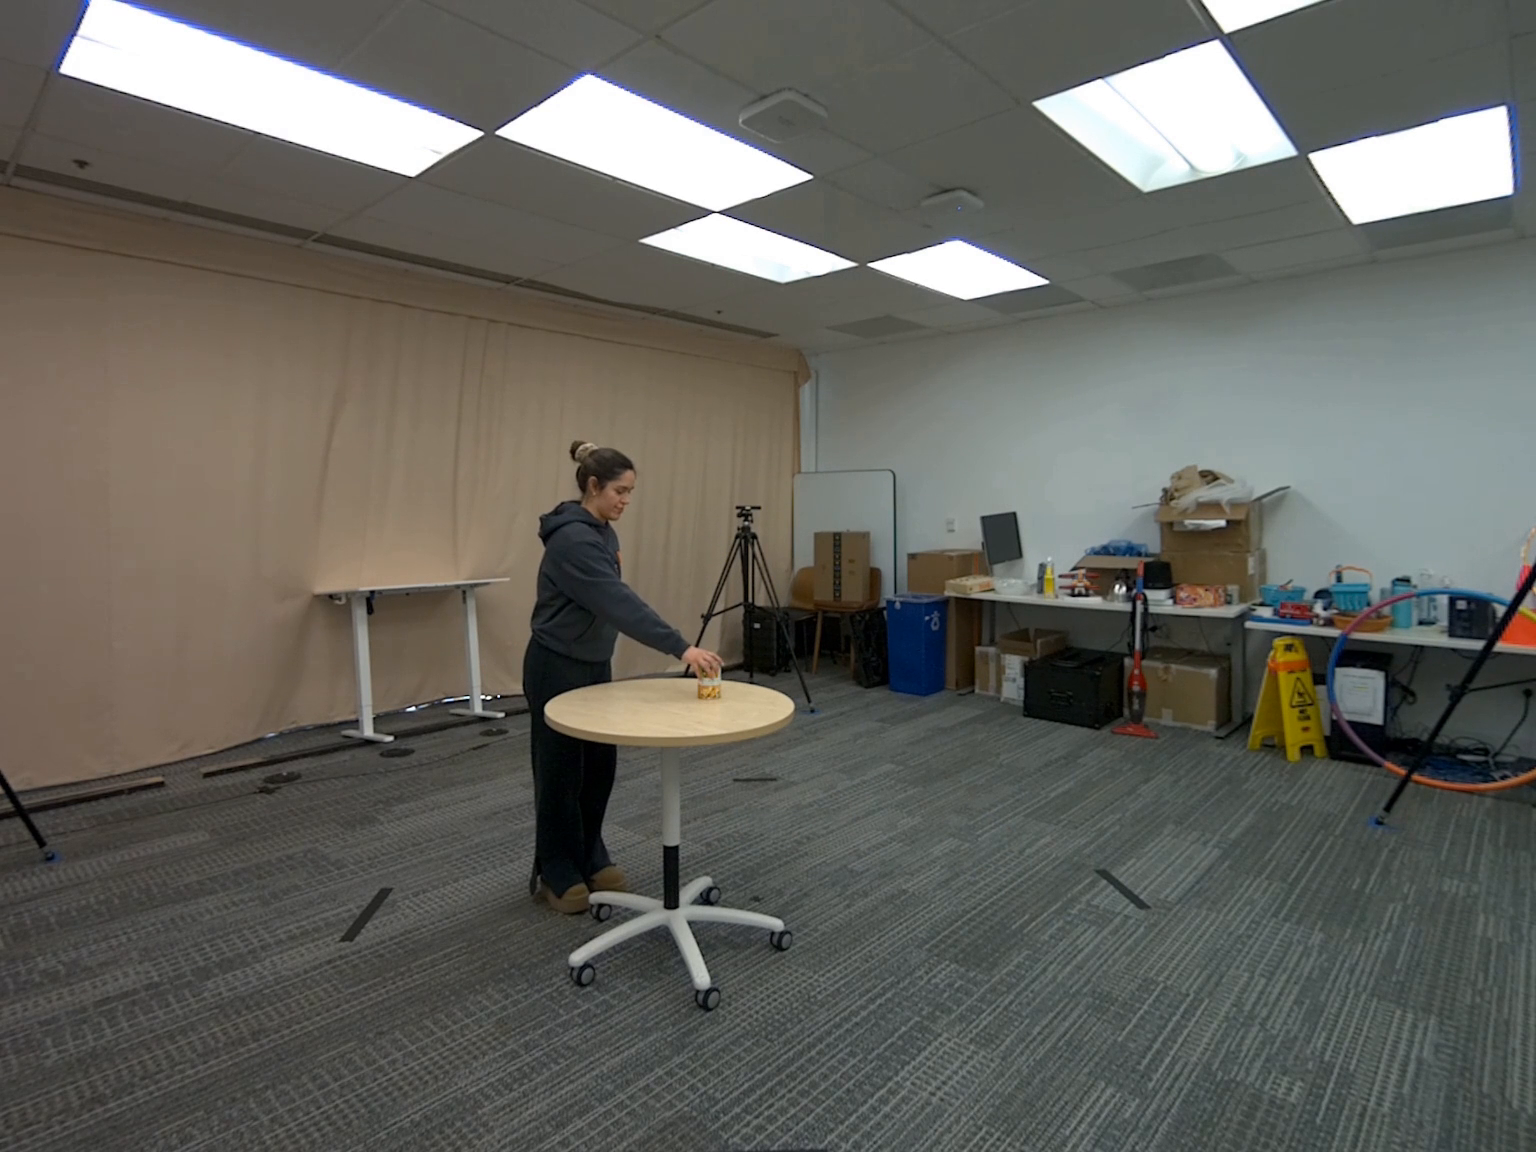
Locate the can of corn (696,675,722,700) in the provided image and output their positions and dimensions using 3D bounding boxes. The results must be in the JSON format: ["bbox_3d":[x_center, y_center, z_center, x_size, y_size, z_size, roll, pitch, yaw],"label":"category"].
[{"bbox_3d":[-0.177,0.332,2.683,0.074,0.111,0.074,-3,3,-2],"label":"can of corn"}]
